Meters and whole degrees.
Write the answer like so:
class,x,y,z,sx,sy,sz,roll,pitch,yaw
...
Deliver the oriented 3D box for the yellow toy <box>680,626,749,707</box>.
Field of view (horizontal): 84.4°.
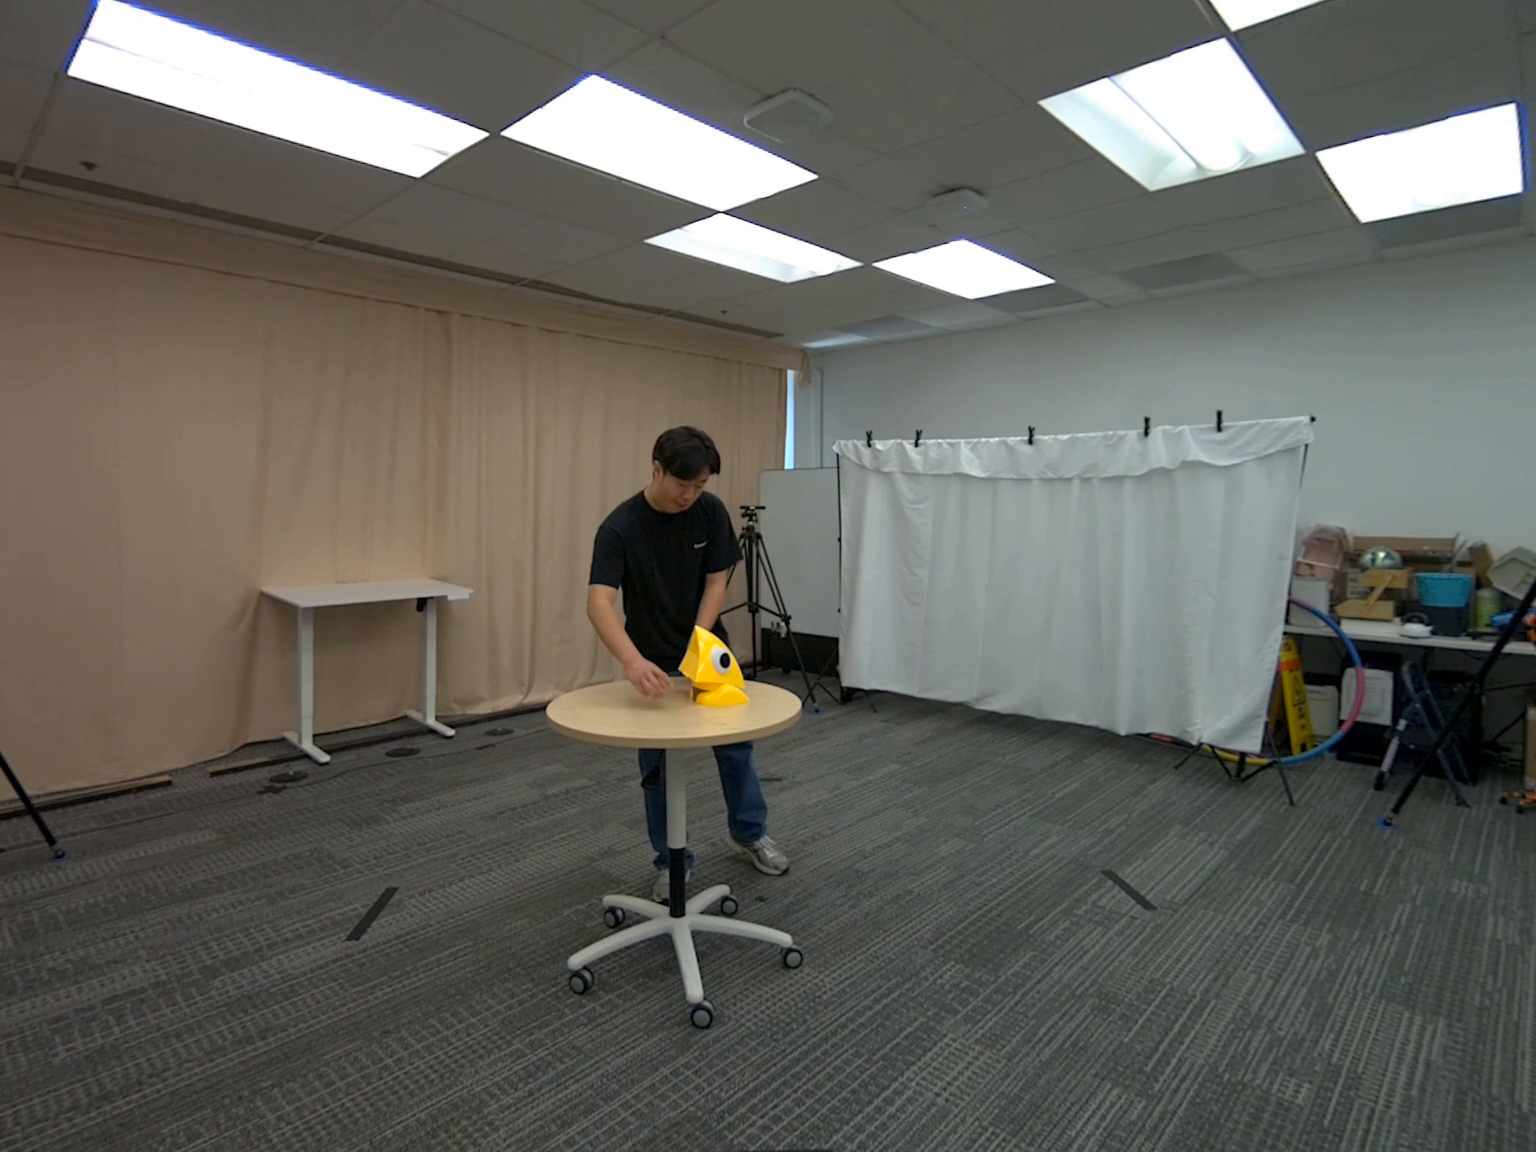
class,x,y,z,sx,sy,sz,roll,pitch,yaw
yellow toy,-0.161,0.266,2.599,0.189,0.230,0.209,-1,4,-19
